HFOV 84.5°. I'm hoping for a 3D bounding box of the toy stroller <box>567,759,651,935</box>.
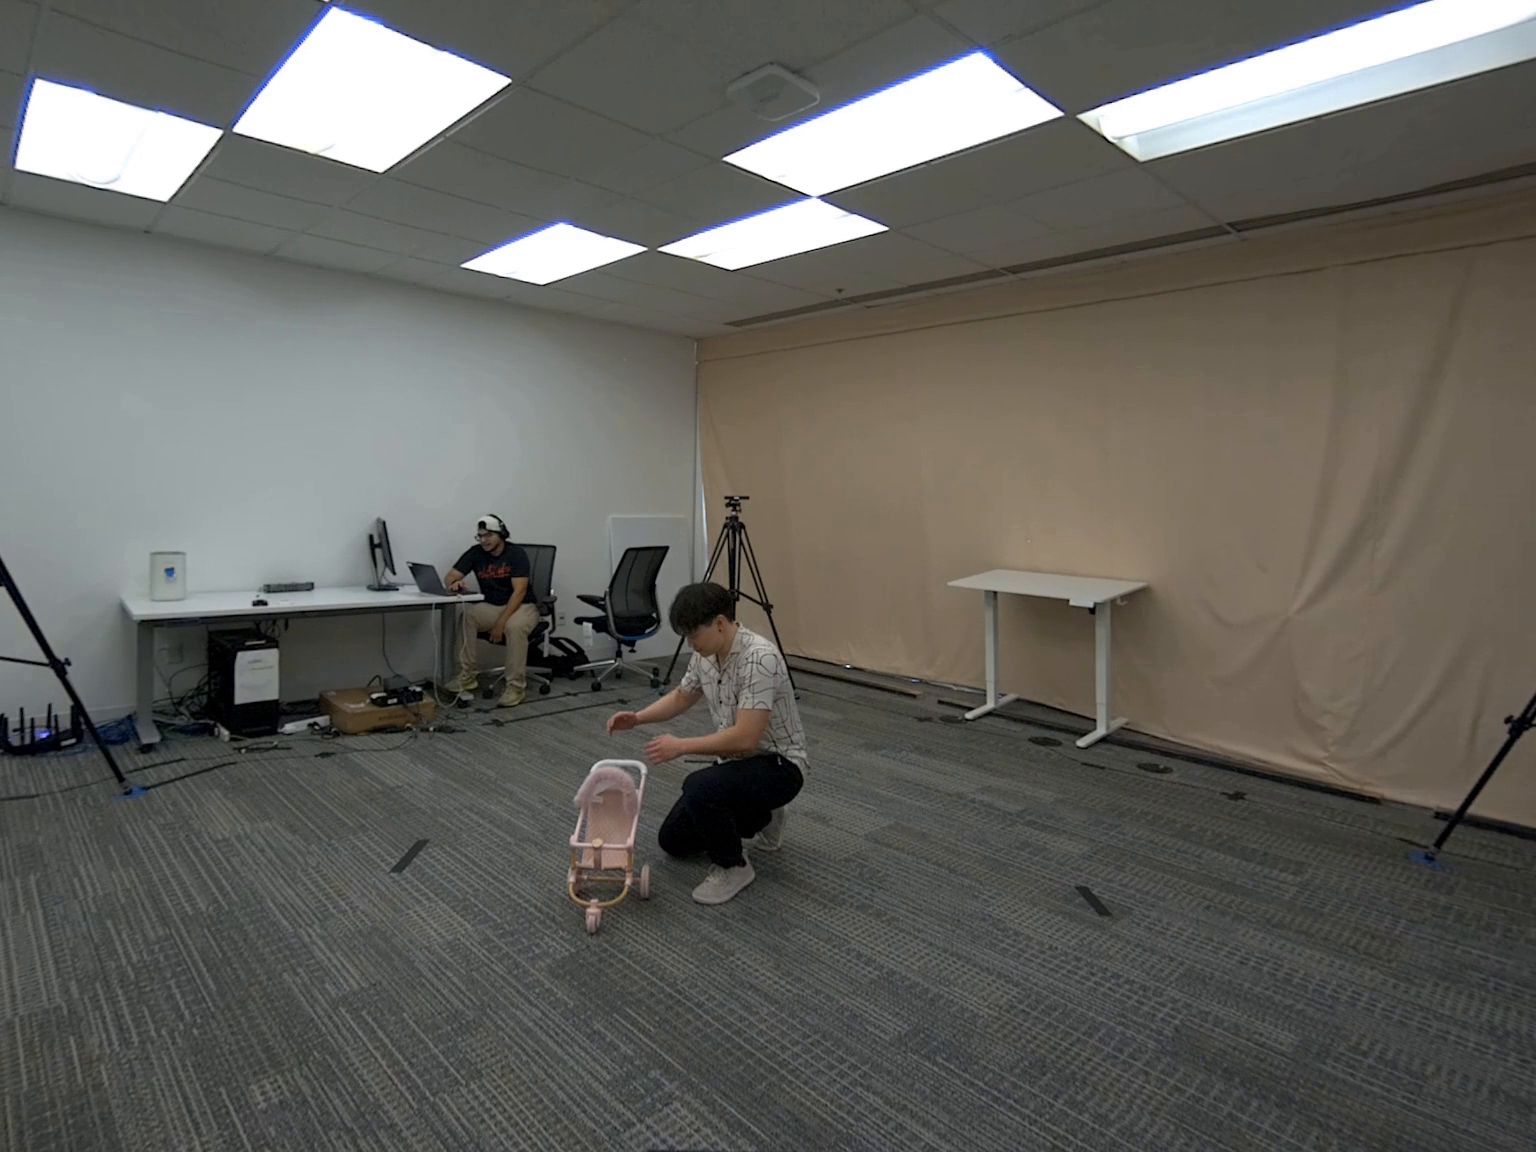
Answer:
[{"bbox_3d":[-0.549,0.894,2.852,0.283,0.540,0.336,1,-14,7],"label":"toy stroller"}]
